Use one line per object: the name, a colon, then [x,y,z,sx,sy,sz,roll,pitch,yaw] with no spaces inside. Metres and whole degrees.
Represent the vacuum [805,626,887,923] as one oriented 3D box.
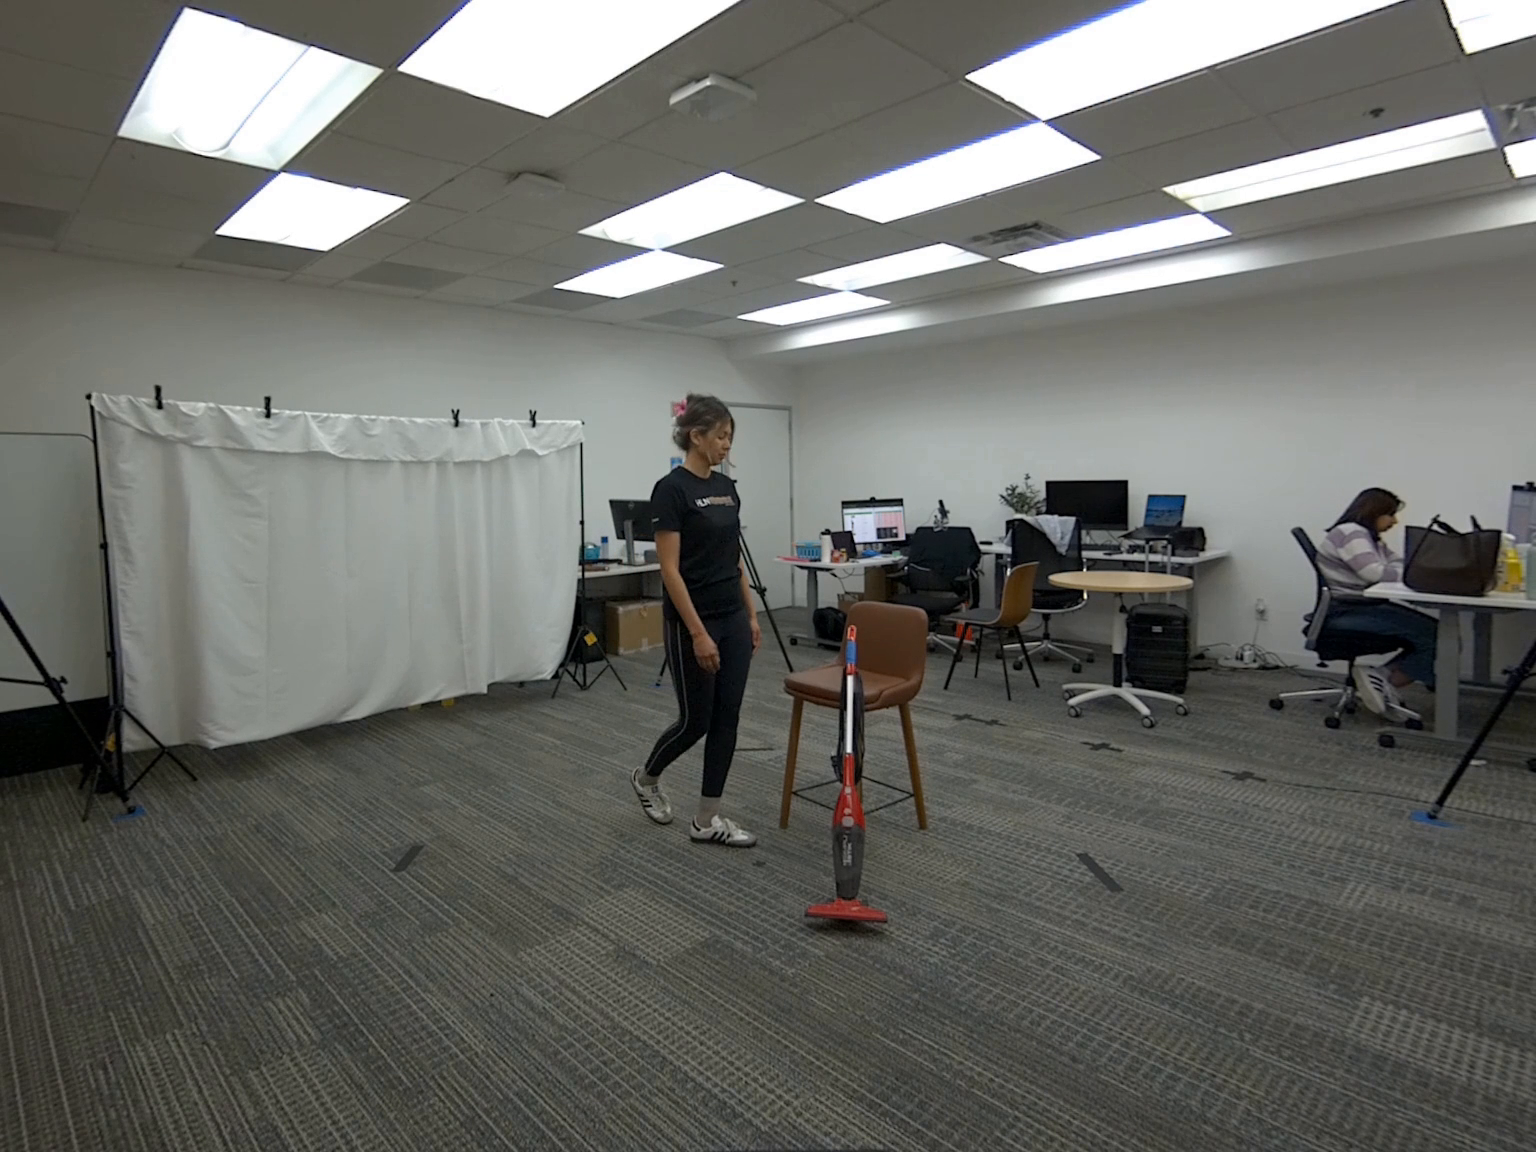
vacuum: [0.290,0.646,2.974,0.255,1.073,0.139,-1,-36,9]
